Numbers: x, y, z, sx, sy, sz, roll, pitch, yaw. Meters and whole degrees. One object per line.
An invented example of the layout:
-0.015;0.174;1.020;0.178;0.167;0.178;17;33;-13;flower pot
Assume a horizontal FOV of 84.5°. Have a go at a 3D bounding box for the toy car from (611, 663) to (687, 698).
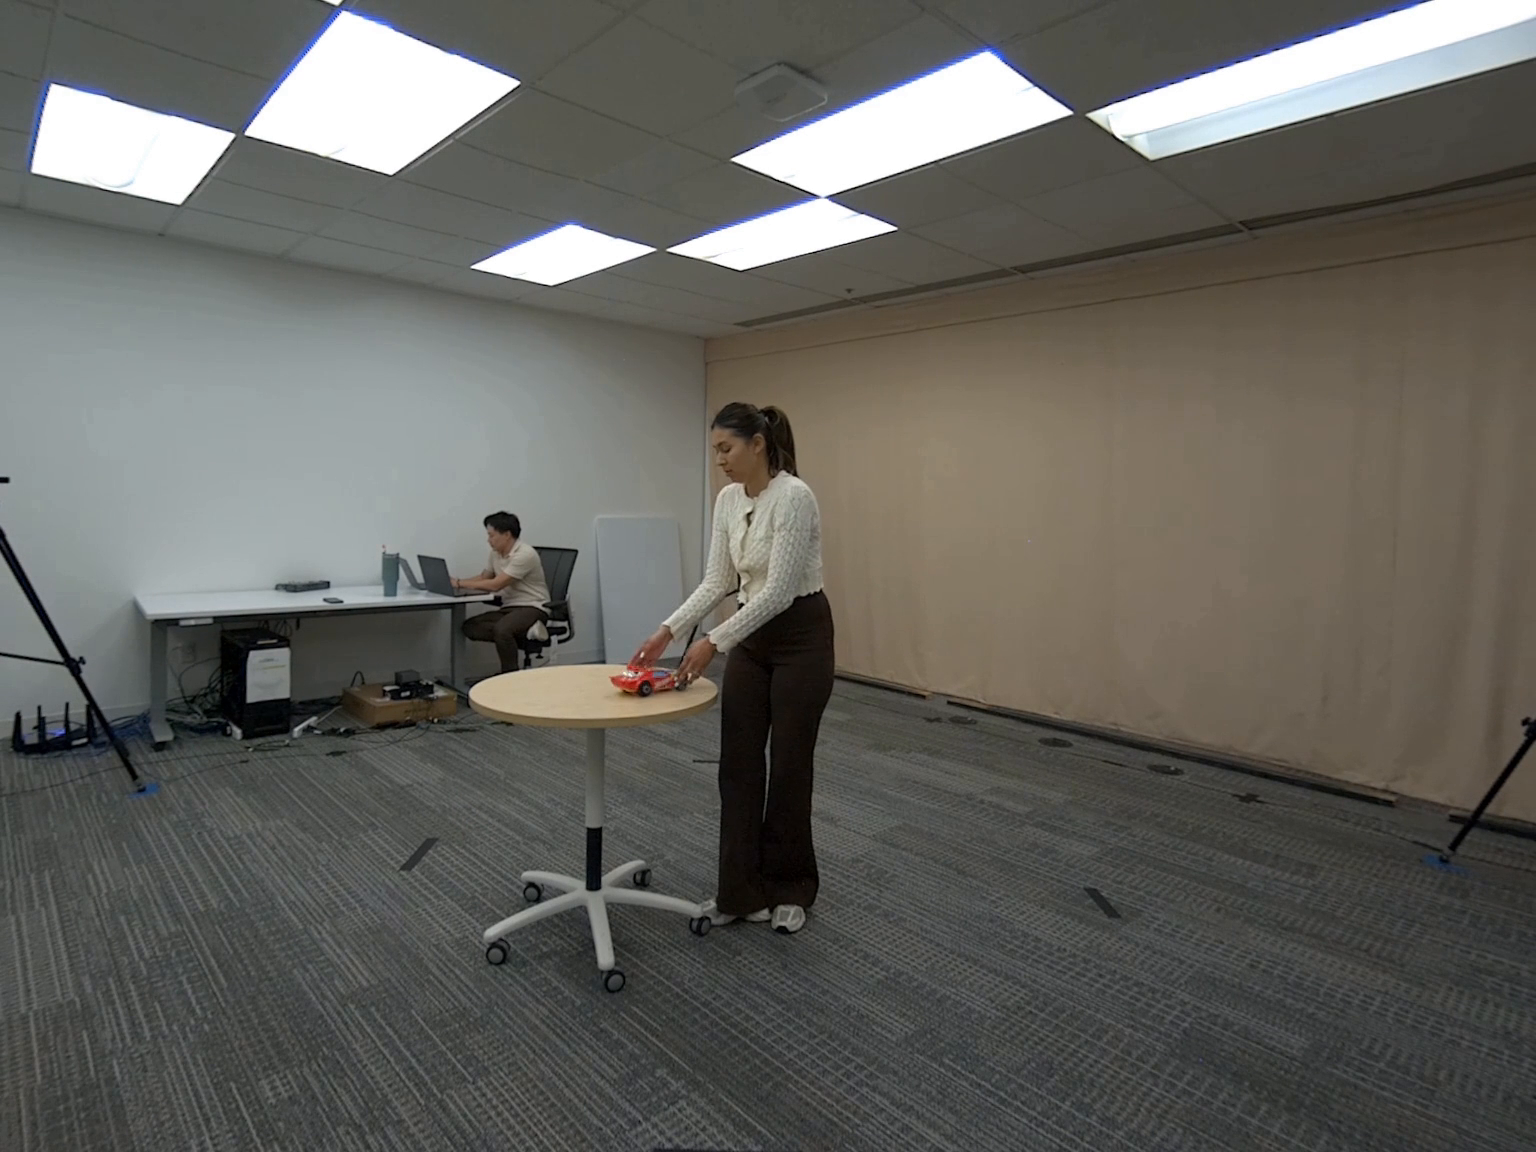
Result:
-0.379;0.331;2.595;0.247;0.083;0.133;13;-5;-42;toy car
